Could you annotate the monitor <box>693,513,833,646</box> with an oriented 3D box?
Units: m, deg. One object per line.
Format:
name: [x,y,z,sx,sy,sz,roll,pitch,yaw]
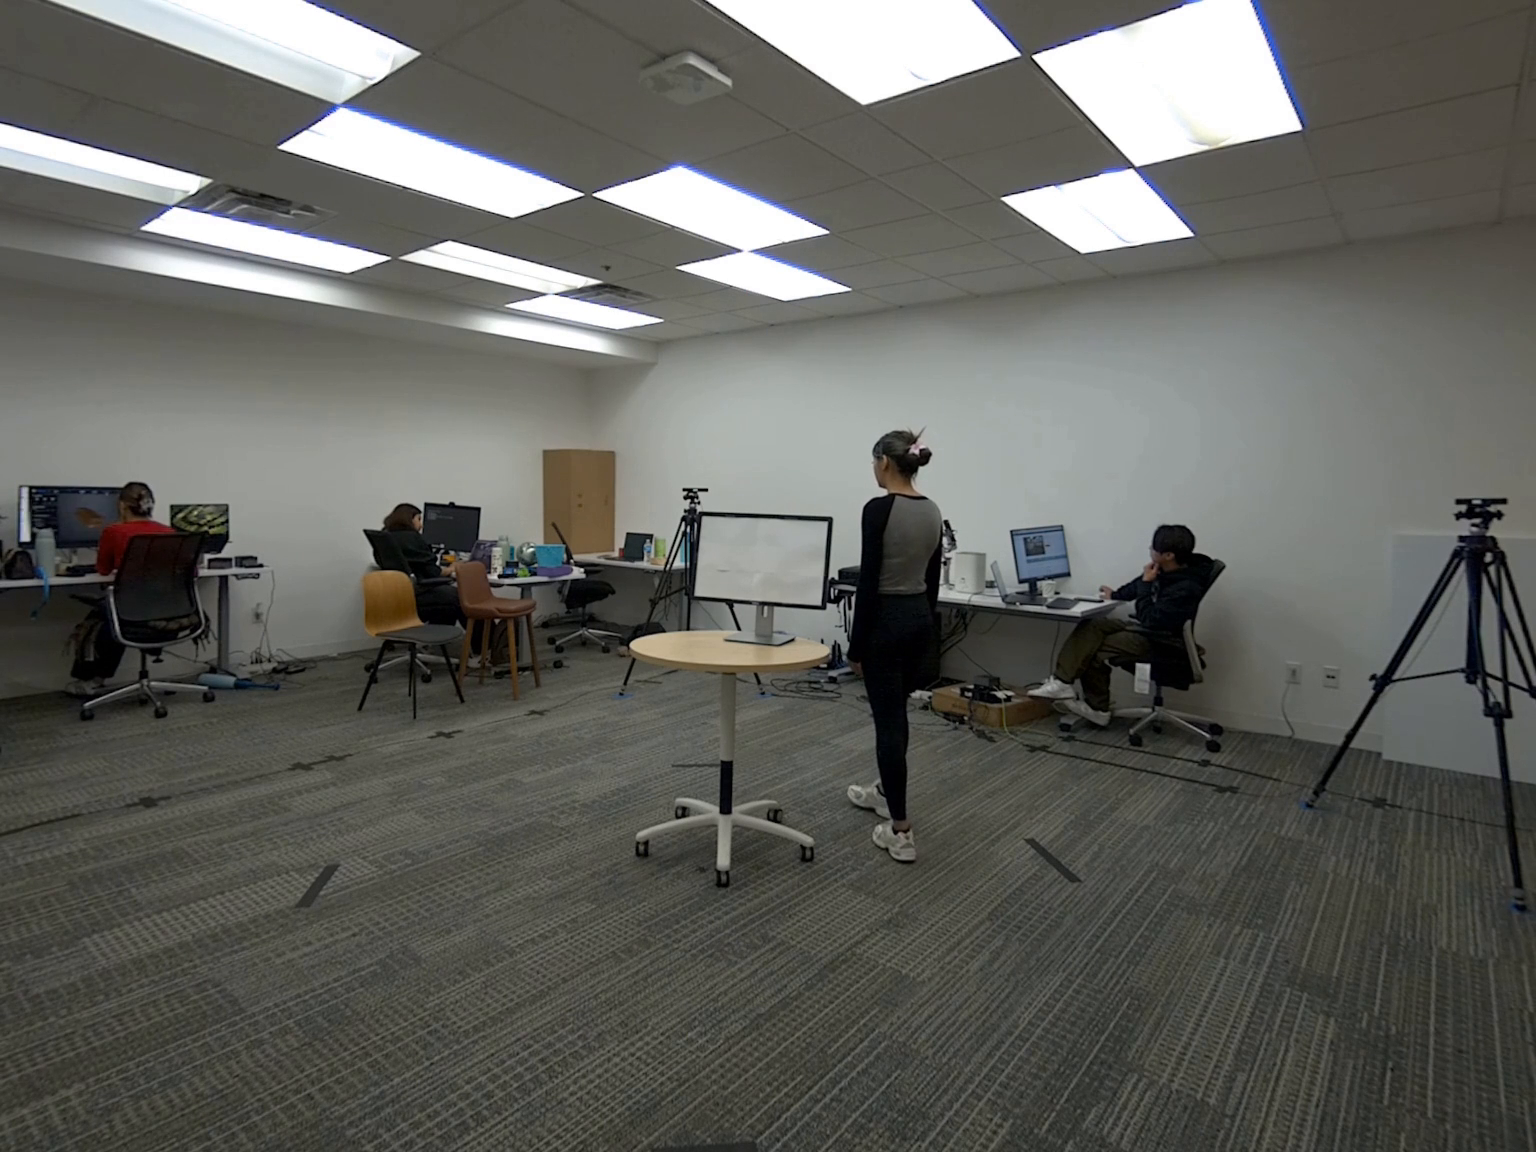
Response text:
monitor: [-0.033,0.012,3.419,0.550,0.520,0.184,4,5,17]
